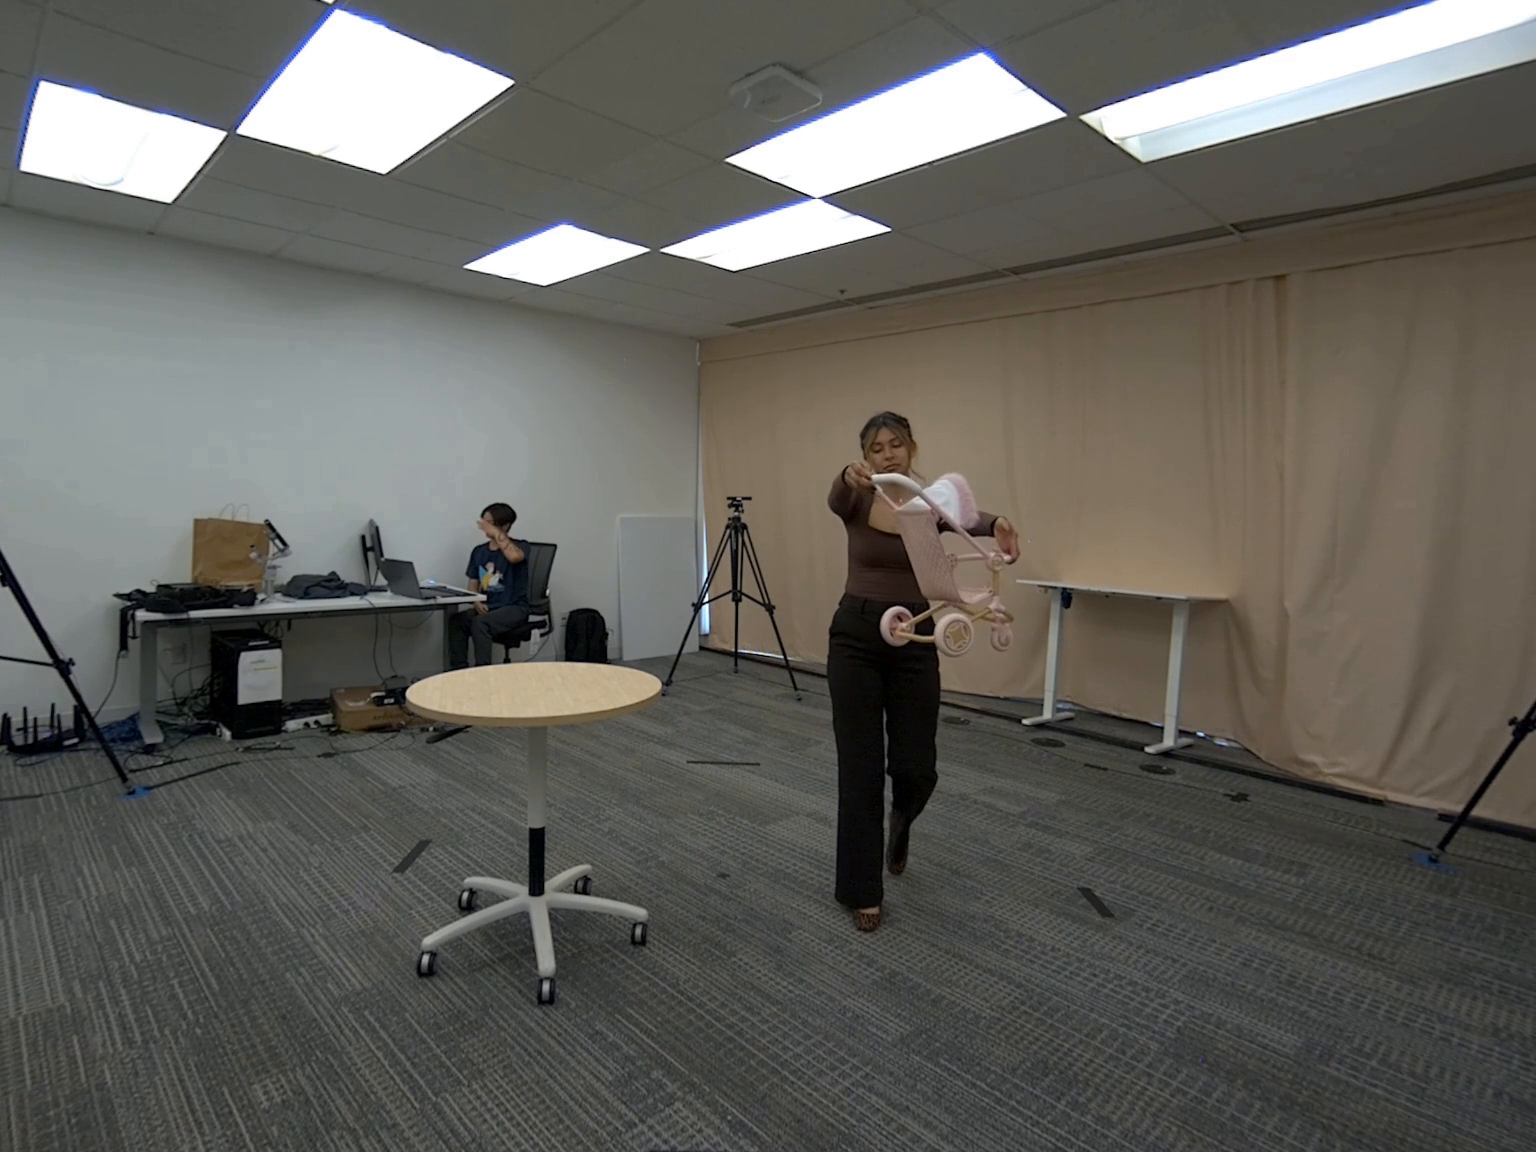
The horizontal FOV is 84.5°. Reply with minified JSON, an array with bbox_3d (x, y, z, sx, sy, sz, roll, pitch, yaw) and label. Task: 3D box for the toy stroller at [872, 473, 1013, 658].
[{"bbox_3d":[0.477,-0.026,2.240,0.337,0.533,0.285,-11,4,-19],"label":"toy stroller"}]
